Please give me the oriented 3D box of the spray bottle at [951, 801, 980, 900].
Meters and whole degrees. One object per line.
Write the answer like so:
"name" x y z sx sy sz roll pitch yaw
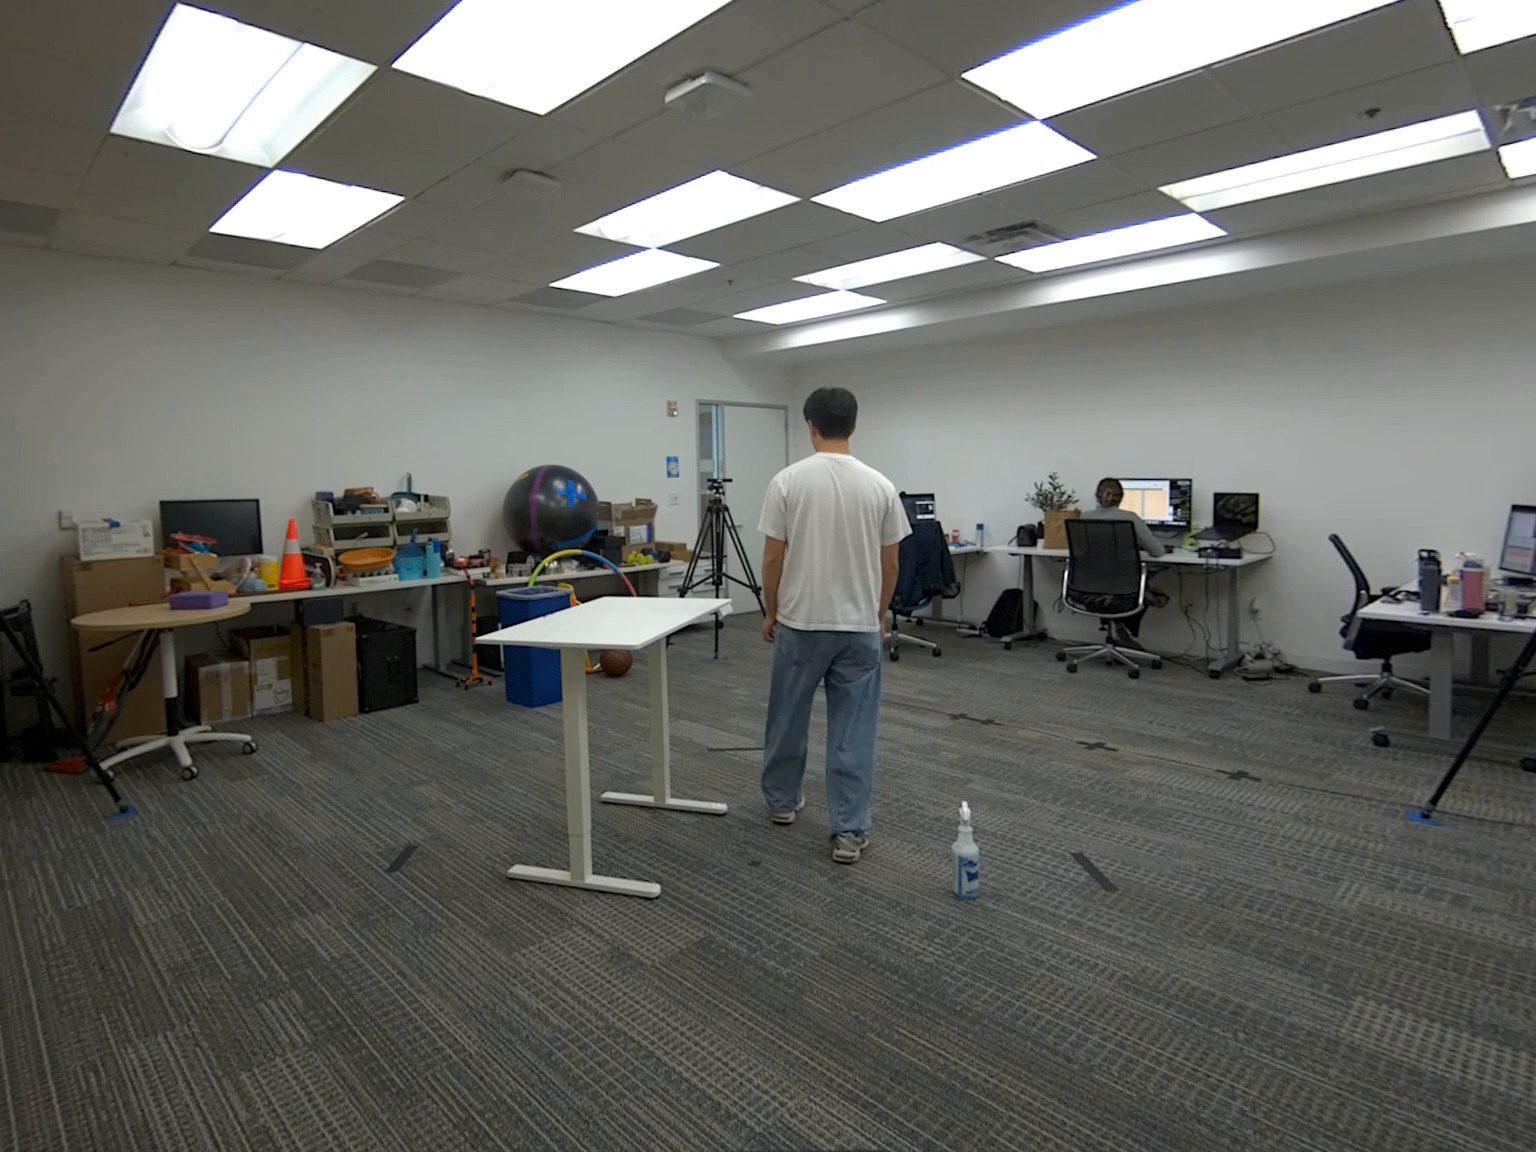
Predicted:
"spray bottle" 0.646 0.913 2.854 0.089 0.297 0.088 -3 2 33
